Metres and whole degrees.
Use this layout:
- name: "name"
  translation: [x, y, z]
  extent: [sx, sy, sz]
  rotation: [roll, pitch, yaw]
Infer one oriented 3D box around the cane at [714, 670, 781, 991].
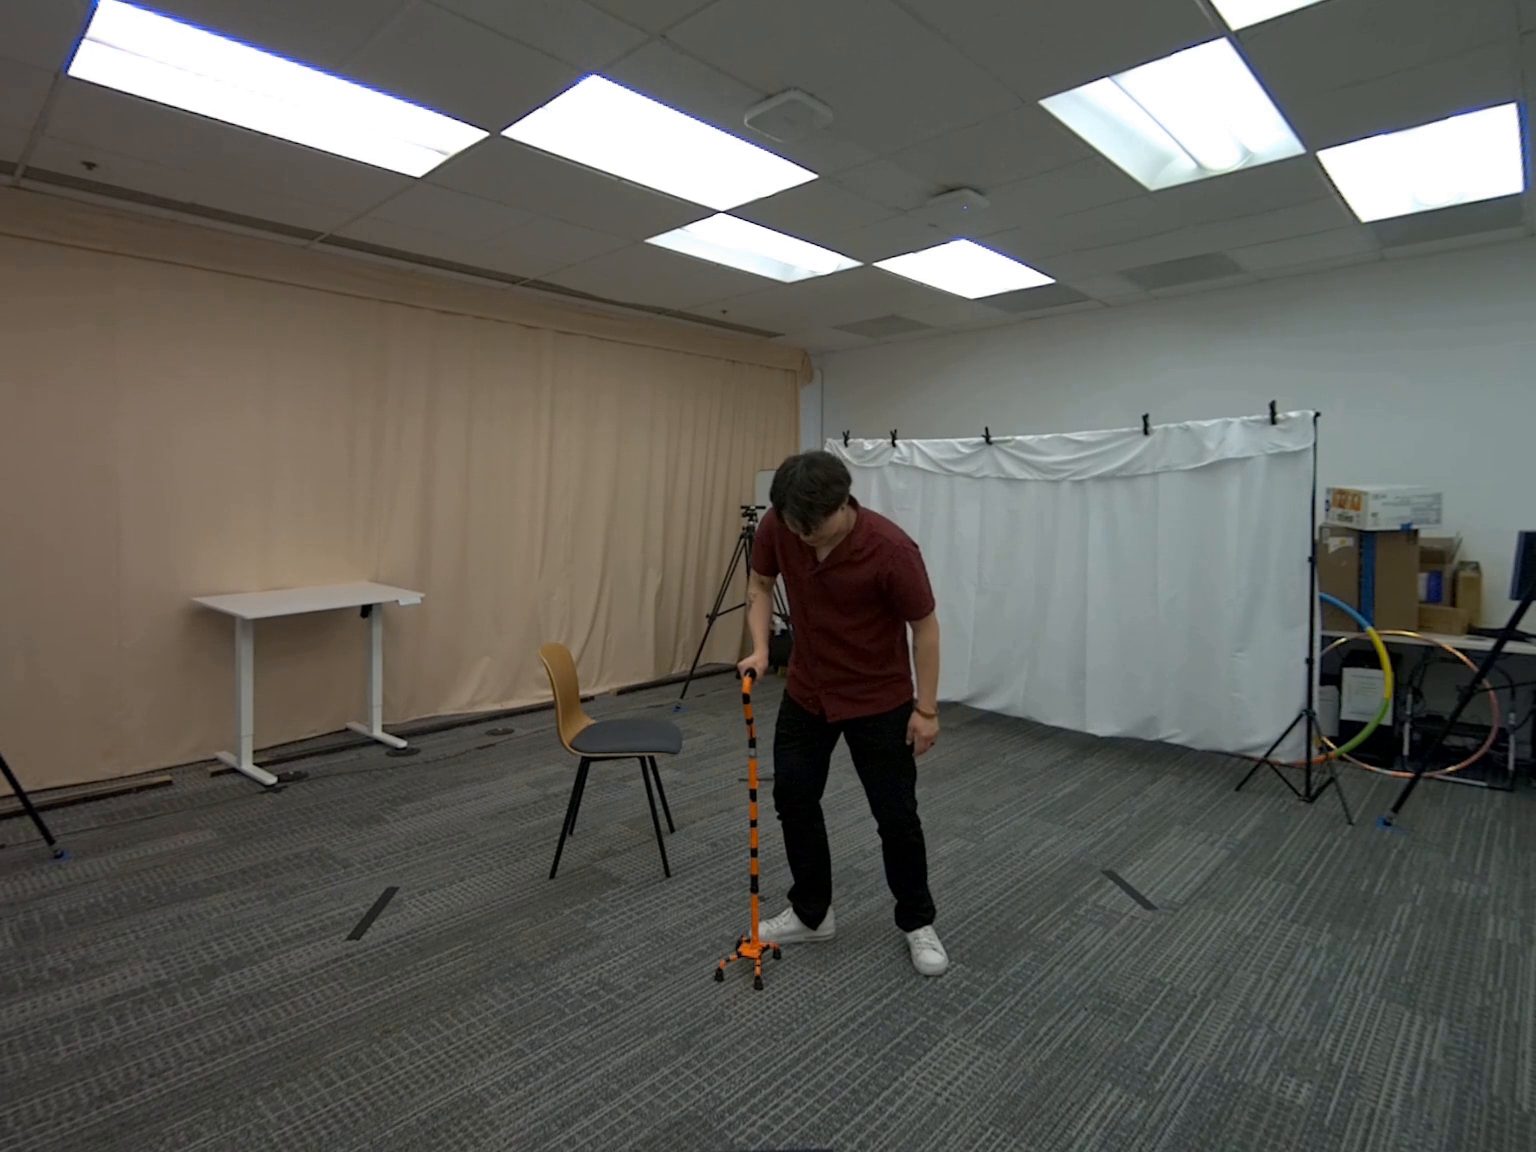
- name: "cane"
  translation: [-0.059, 0.732, 2.512]
  extent: [0.155, 0.906, 0.203]
  rotation: [0, 3, 18]
